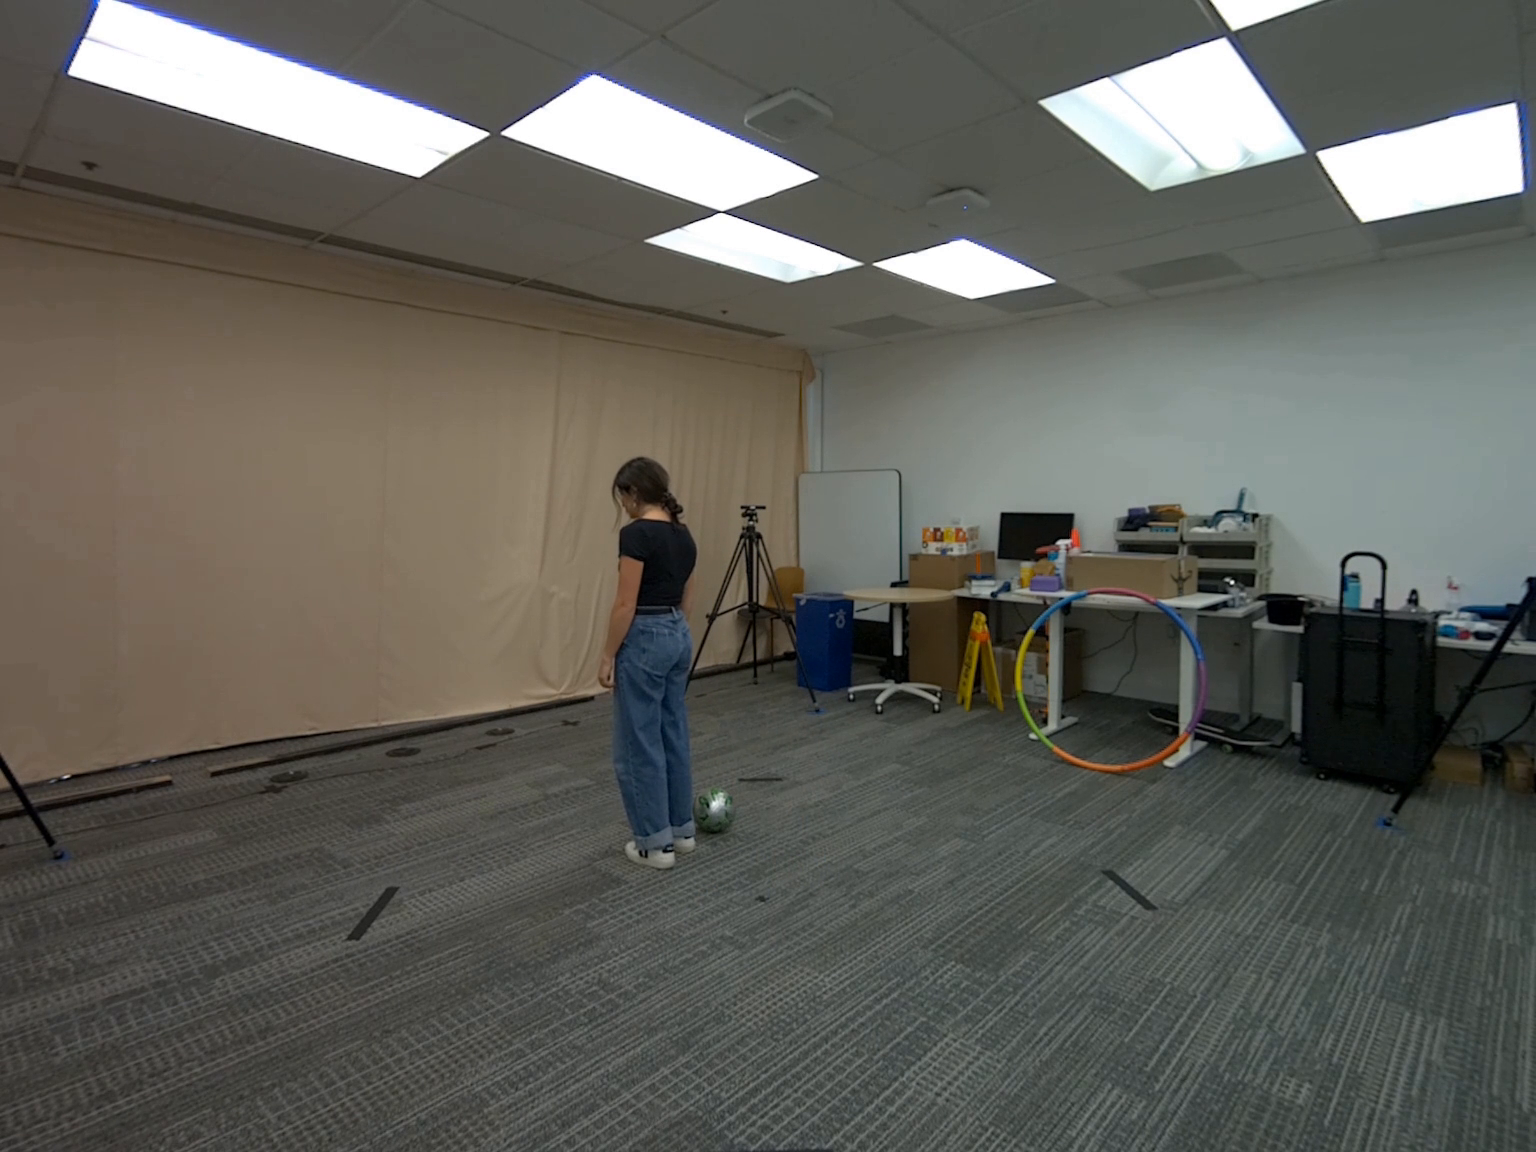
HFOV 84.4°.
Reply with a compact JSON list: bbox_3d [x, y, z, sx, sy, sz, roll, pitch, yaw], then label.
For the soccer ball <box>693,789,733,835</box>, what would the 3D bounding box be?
[{"bbox_3d":[-0.226,1.005,3.601,0.187,0.187,0.188,0,4,-2],"label":"soccer ball"}]
